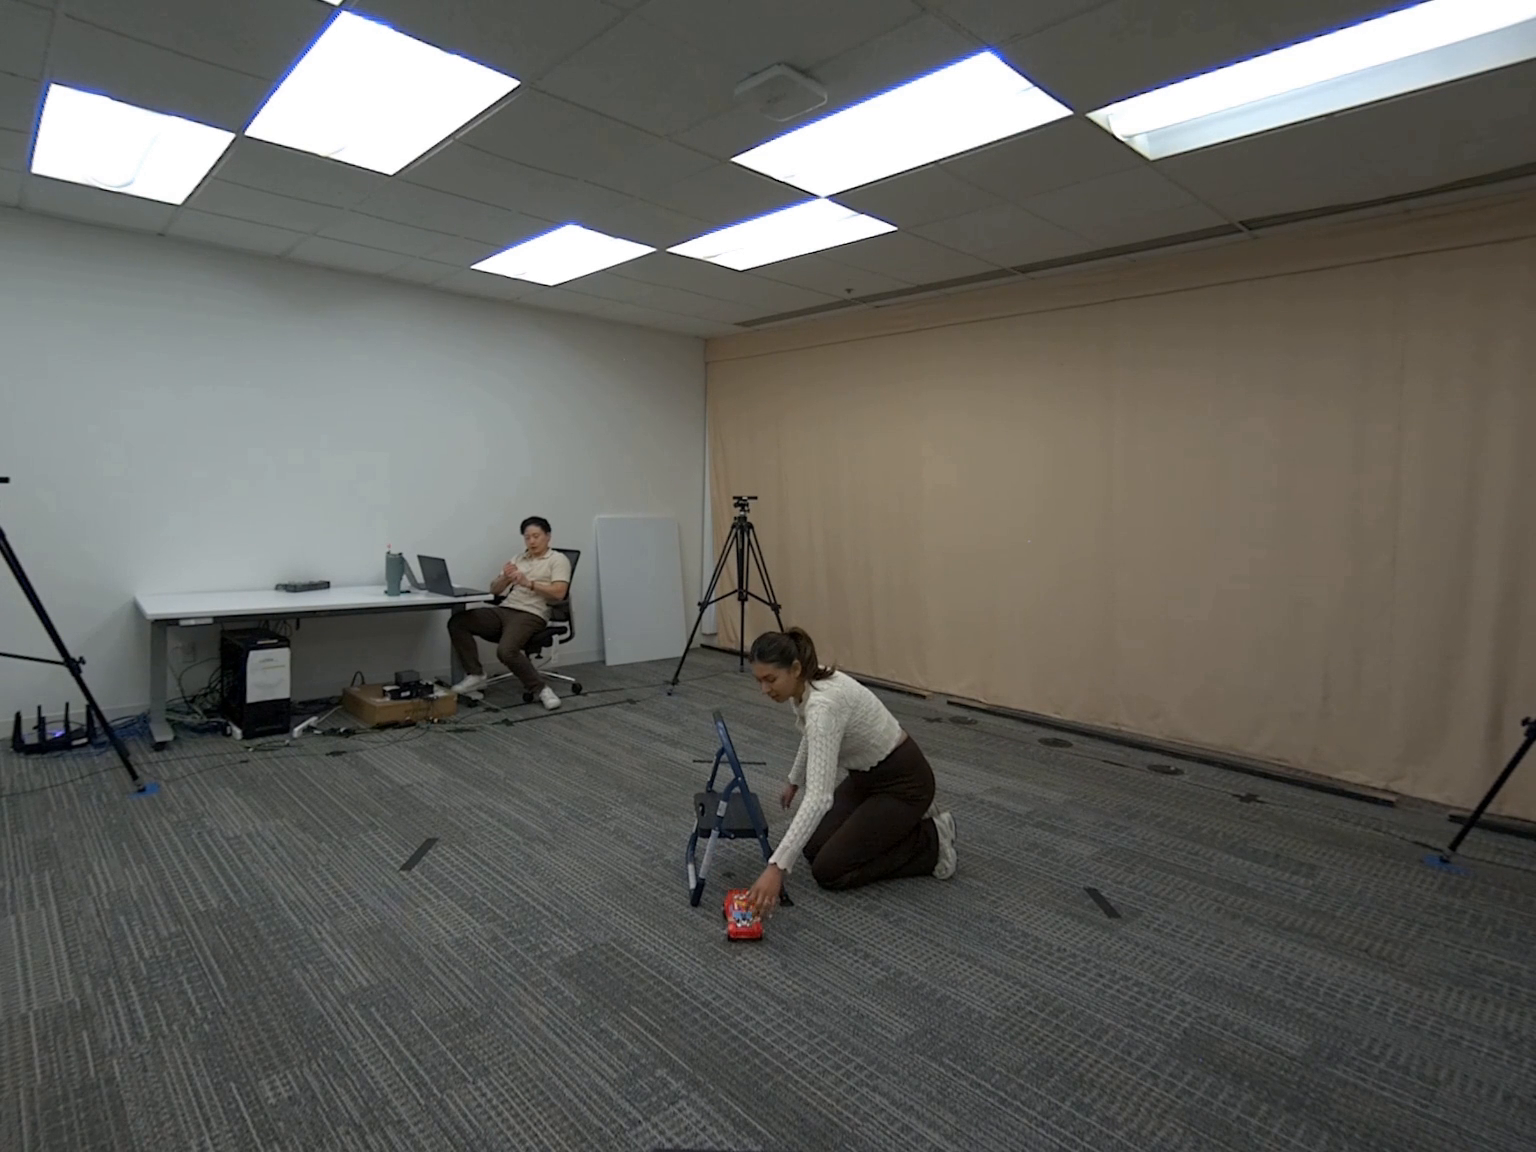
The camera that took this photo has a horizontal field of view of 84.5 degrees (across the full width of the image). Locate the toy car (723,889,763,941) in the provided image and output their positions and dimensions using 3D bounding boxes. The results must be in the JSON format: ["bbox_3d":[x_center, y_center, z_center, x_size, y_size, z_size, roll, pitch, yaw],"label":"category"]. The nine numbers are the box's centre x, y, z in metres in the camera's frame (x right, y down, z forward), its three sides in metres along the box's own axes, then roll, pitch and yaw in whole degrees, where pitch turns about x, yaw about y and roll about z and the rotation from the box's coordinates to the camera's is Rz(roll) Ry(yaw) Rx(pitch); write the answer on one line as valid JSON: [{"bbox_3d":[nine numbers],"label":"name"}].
[{"bbox_3d":[-0.097,1.112,2.749,0.130,0.082,0.258,0,19,-3],"label":"toy car"}]
